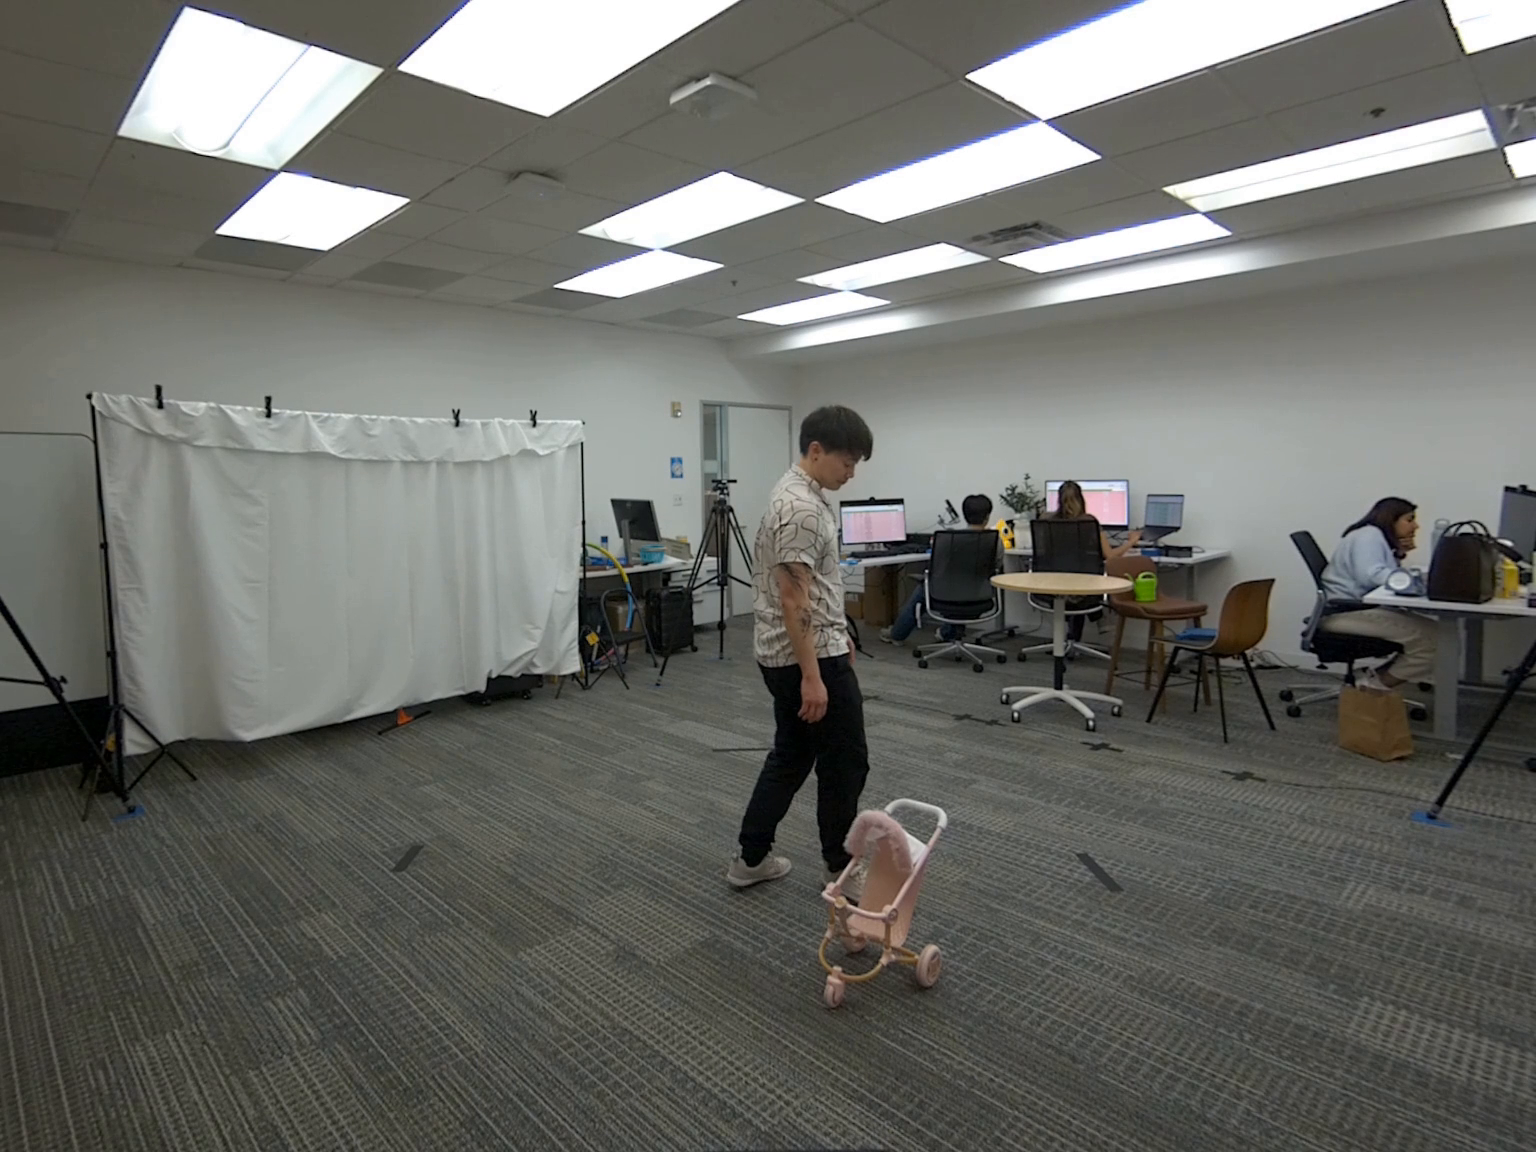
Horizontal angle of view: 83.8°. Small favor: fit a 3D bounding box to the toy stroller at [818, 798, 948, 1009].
[{"bbox_3d":[0.305,0.903,2.382,0.329,0.538,0.290,16,-9,-40],"label":"toy stroller"}]
